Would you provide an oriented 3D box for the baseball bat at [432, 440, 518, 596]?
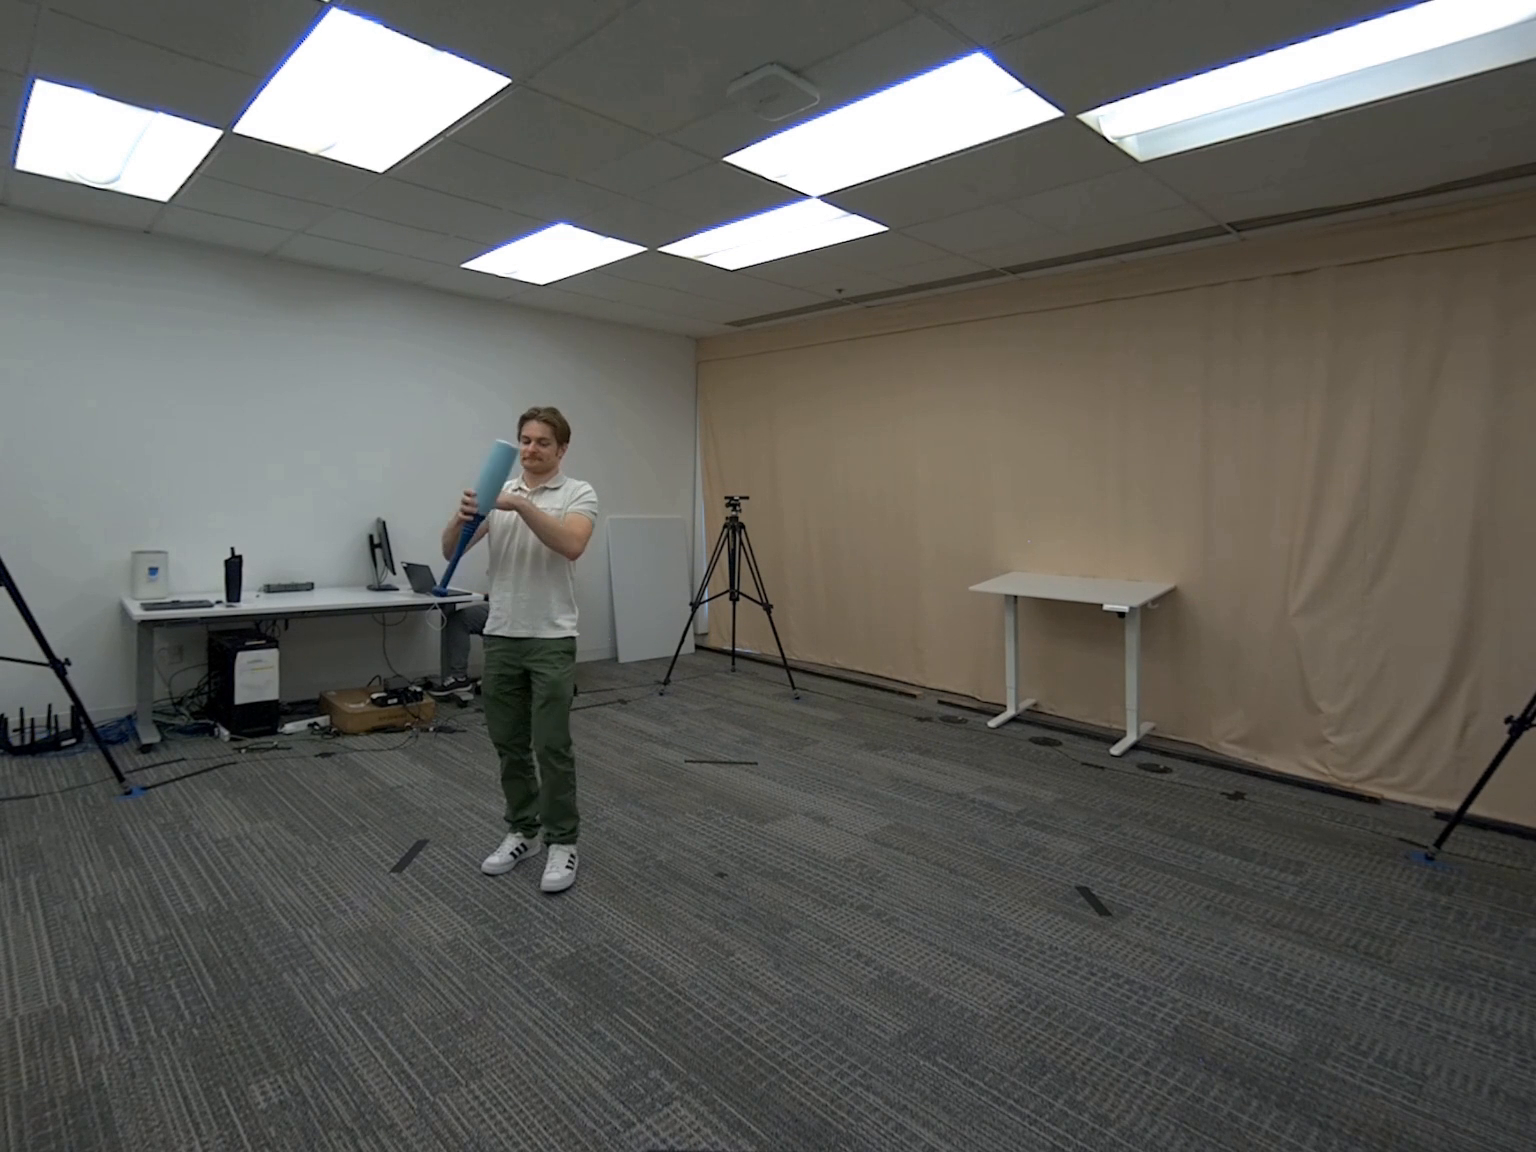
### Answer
[{"bbox_3d":[-0.971,-0.186,2.735,0.089,0.544,0.089,21,-4,0],"label":"baseball bat"}]
